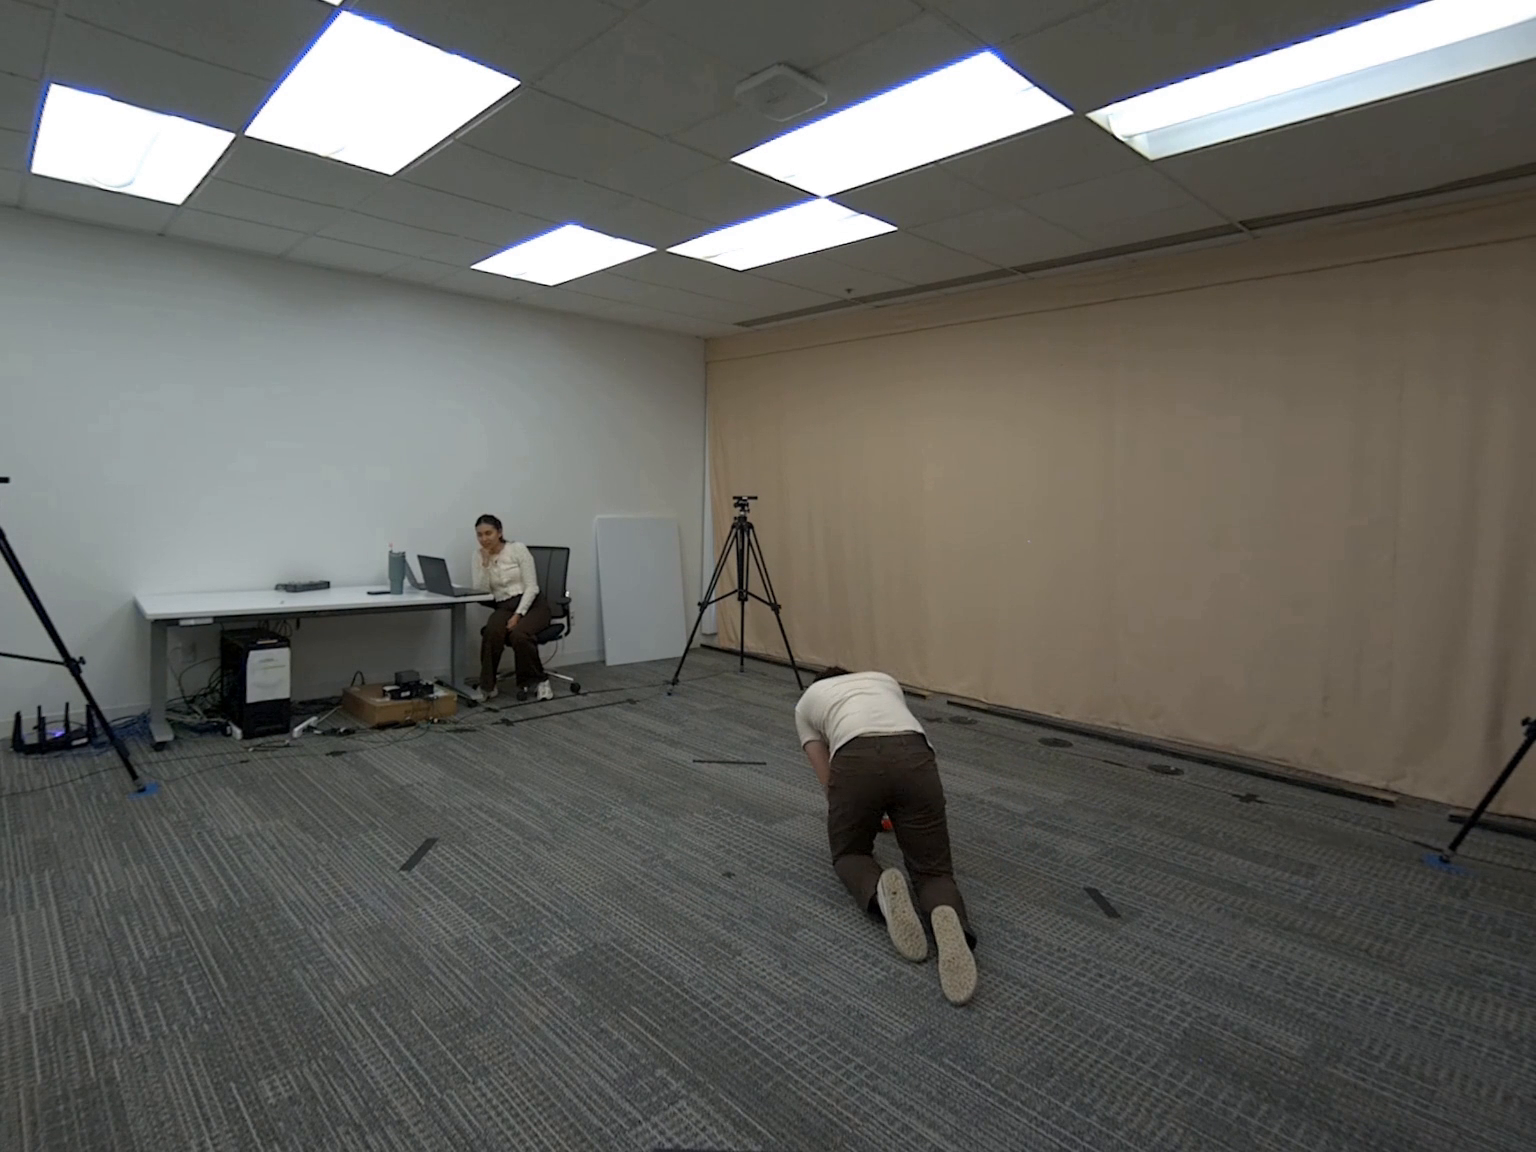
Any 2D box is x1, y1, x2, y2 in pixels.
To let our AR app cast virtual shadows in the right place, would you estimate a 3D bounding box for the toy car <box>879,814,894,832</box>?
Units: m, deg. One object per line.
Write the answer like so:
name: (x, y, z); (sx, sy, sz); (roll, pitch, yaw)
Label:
toy car: (0.442, 1.048, 3.620); (0.259, 0.083, 0.128); (-7, -2, 31)
